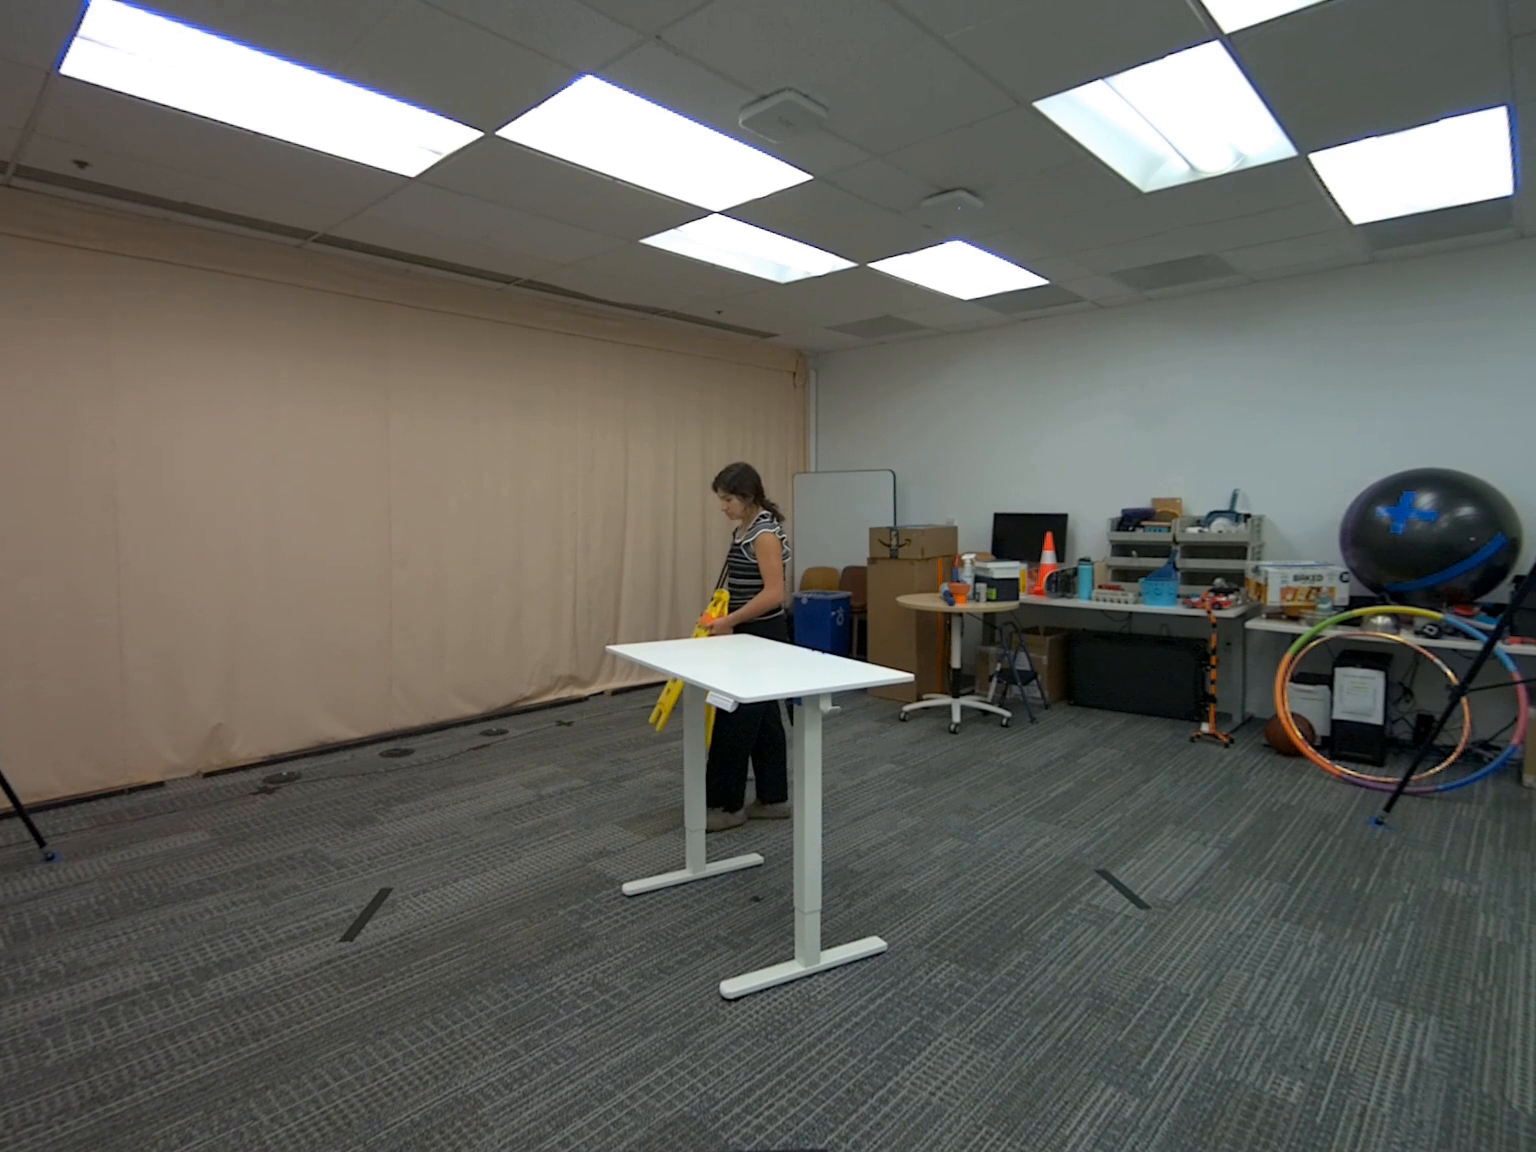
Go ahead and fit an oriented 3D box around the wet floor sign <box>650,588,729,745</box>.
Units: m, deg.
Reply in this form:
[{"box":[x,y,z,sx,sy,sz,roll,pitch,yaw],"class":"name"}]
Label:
[{"box":[-0.288,0.382,3.668,0.285,0.647,0.286,16,-6,-14],"class":"wet floor sign"}]
